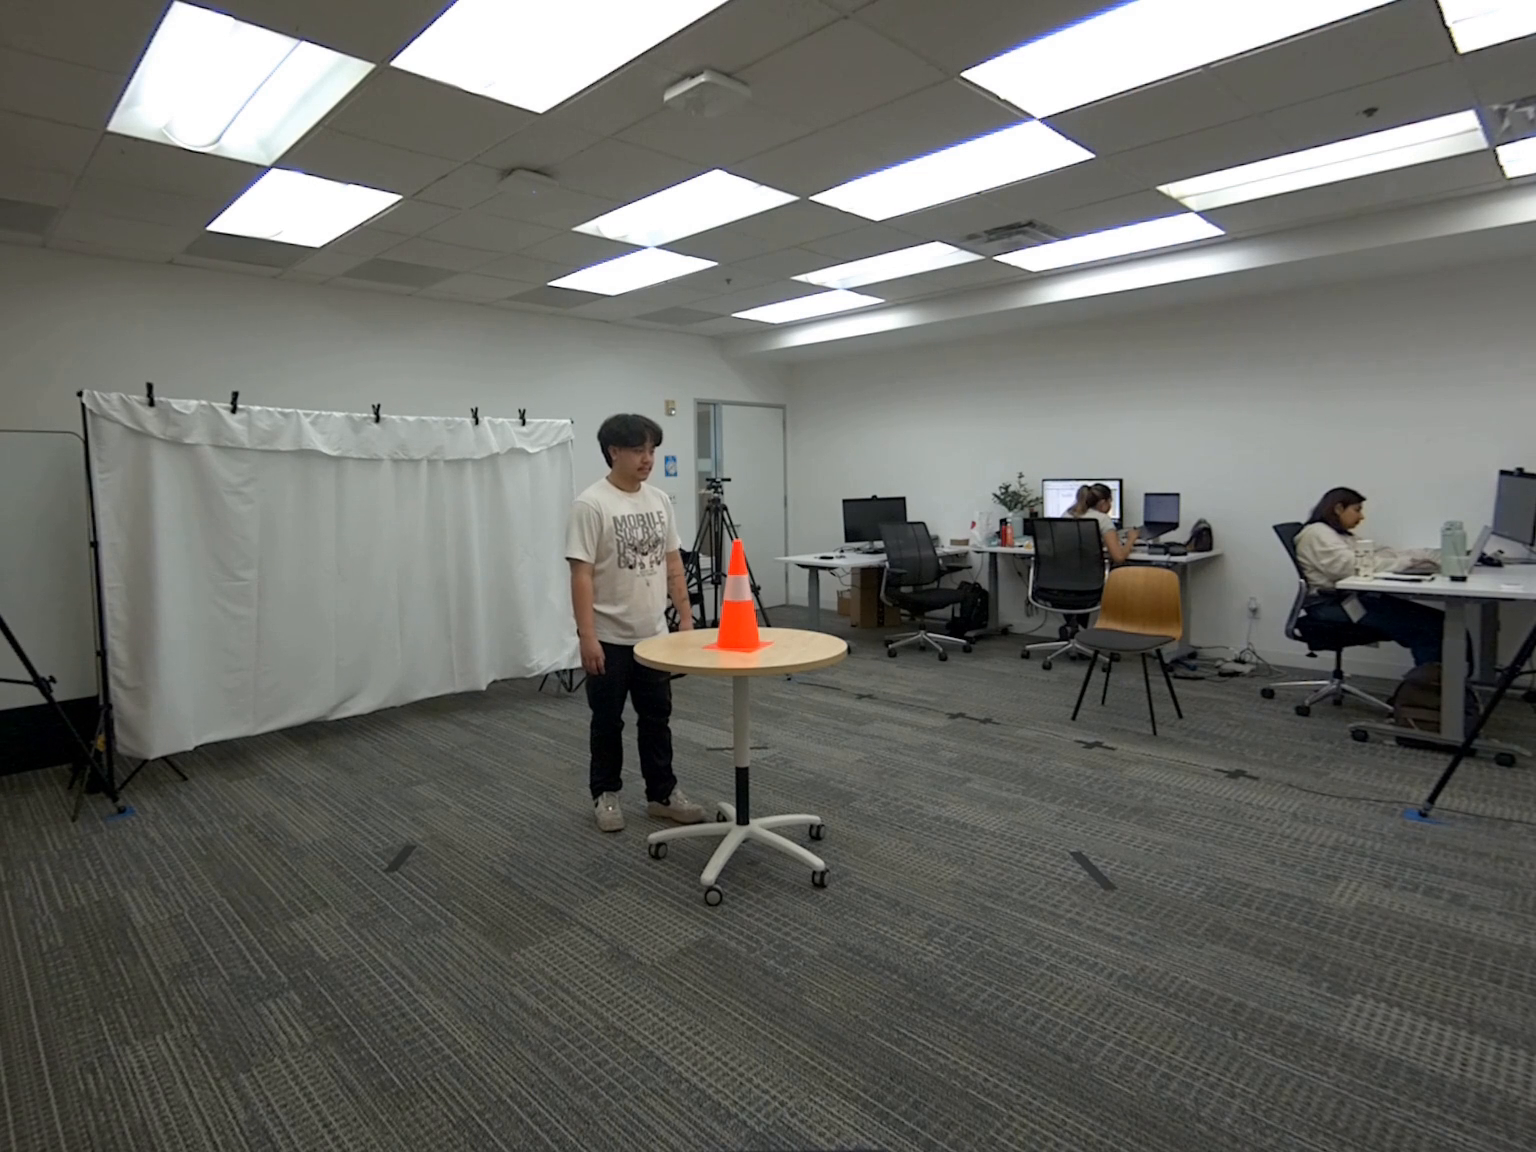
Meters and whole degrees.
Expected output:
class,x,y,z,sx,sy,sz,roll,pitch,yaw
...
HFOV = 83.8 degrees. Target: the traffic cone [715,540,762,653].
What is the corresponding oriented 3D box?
class,x,y,z,sx,sy,sz,roll,pitch,yaw
traffic cone,-0.109,0.064,3.056,0.208,0.382,0.201,0,5,25
